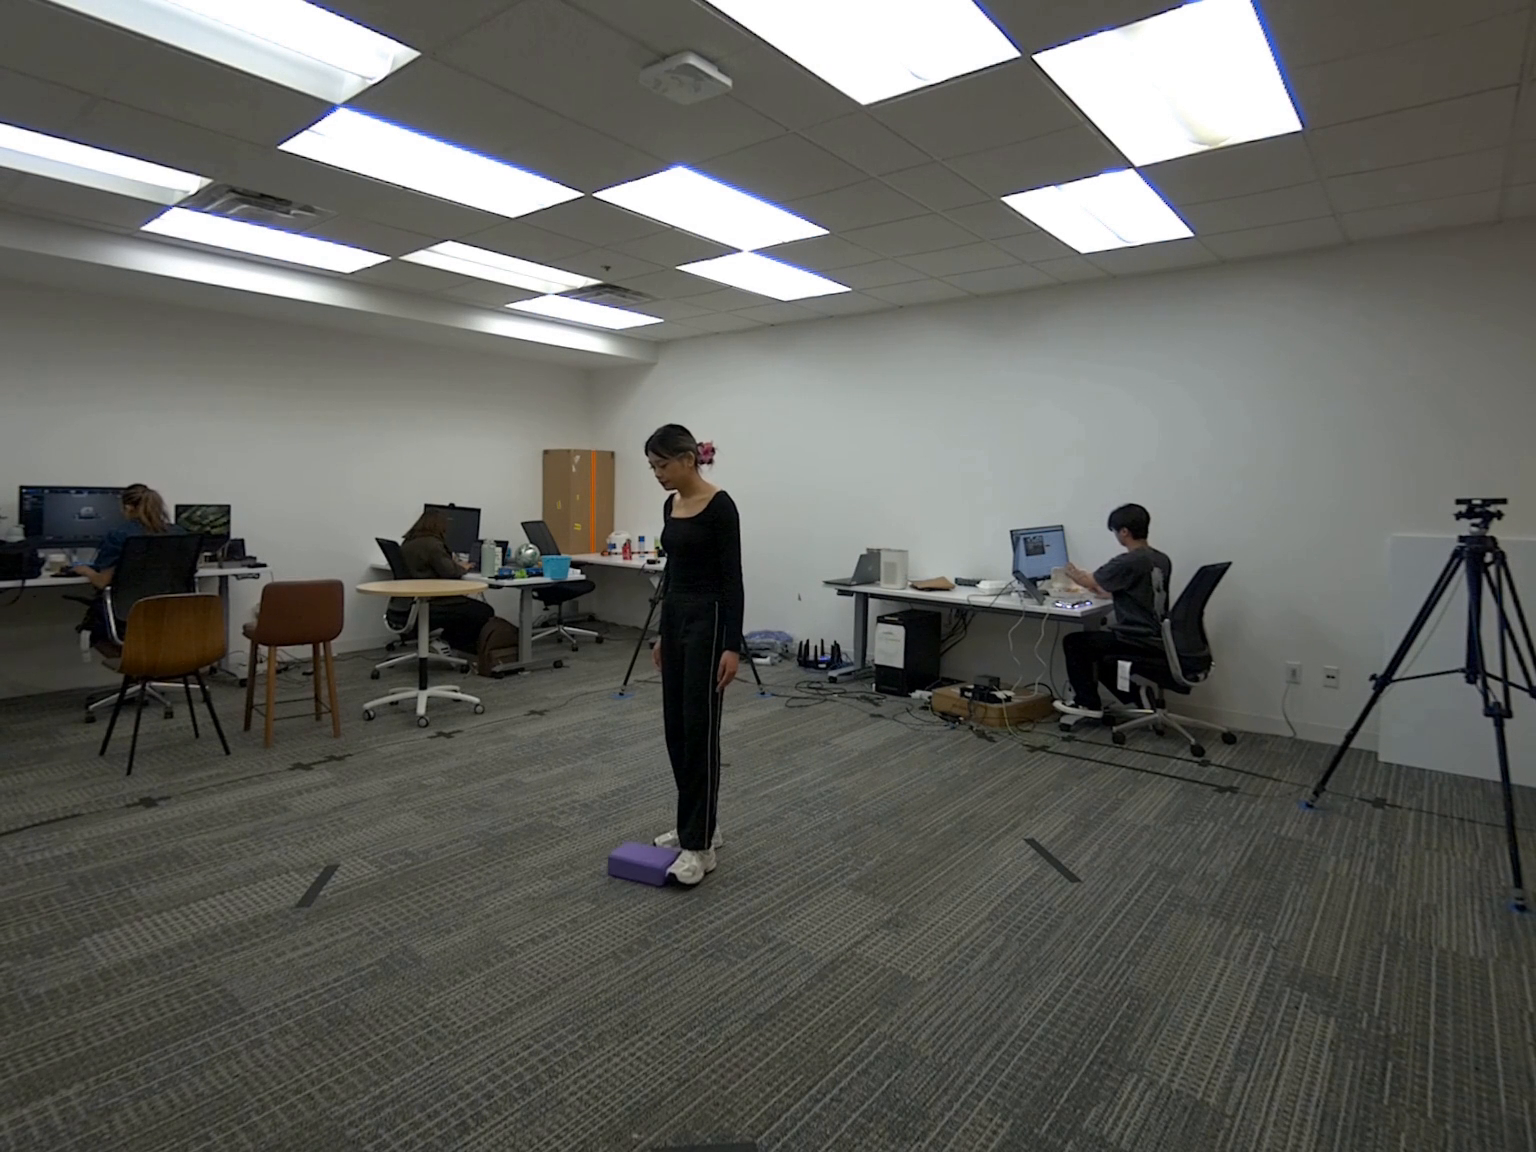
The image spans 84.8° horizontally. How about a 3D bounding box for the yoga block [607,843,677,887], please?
[{"bbox_3d":[-0.457,1.027,3.069,0.235,0.076,0.146,2,5,24],"label":"yoga block"}]
